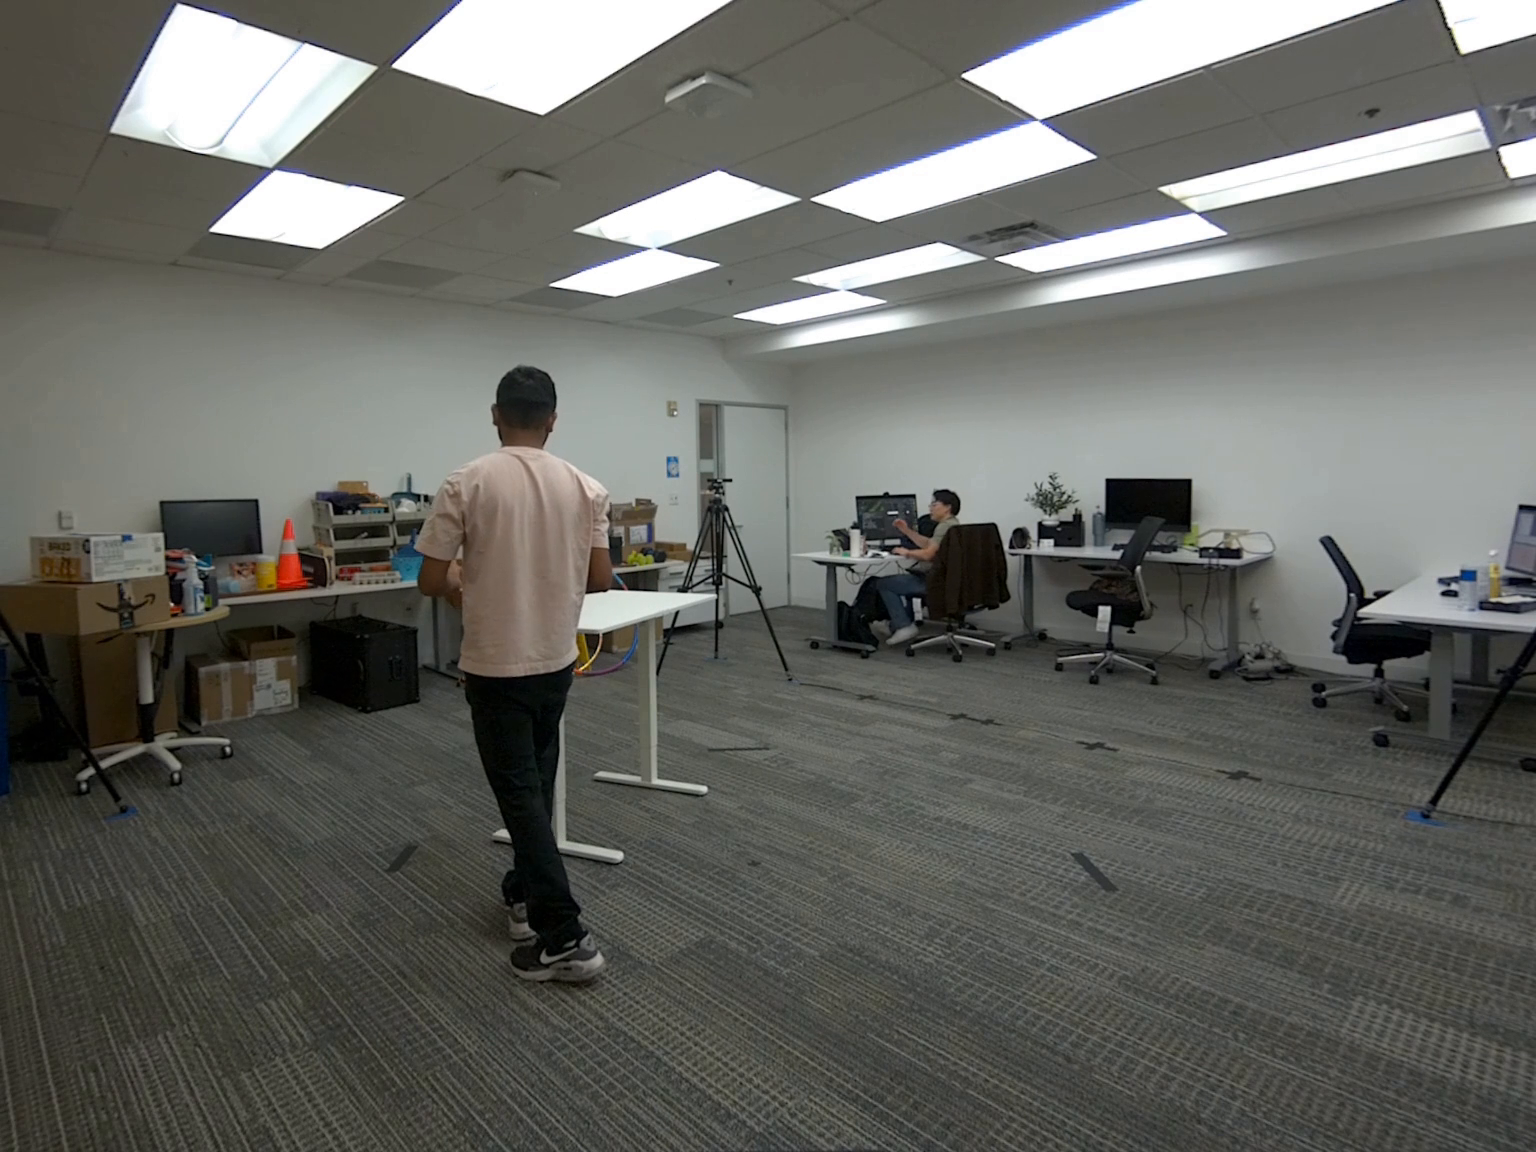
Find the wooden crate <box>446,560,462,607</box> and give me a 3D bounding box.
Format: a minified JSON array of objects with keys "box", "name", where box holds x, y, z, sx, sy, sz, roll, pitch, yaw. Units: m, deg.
[{"box":[-0.893,-0.079,2.842,0.319,0.271,0.310,-1,13,-19],"name":"wooden crate"}]
